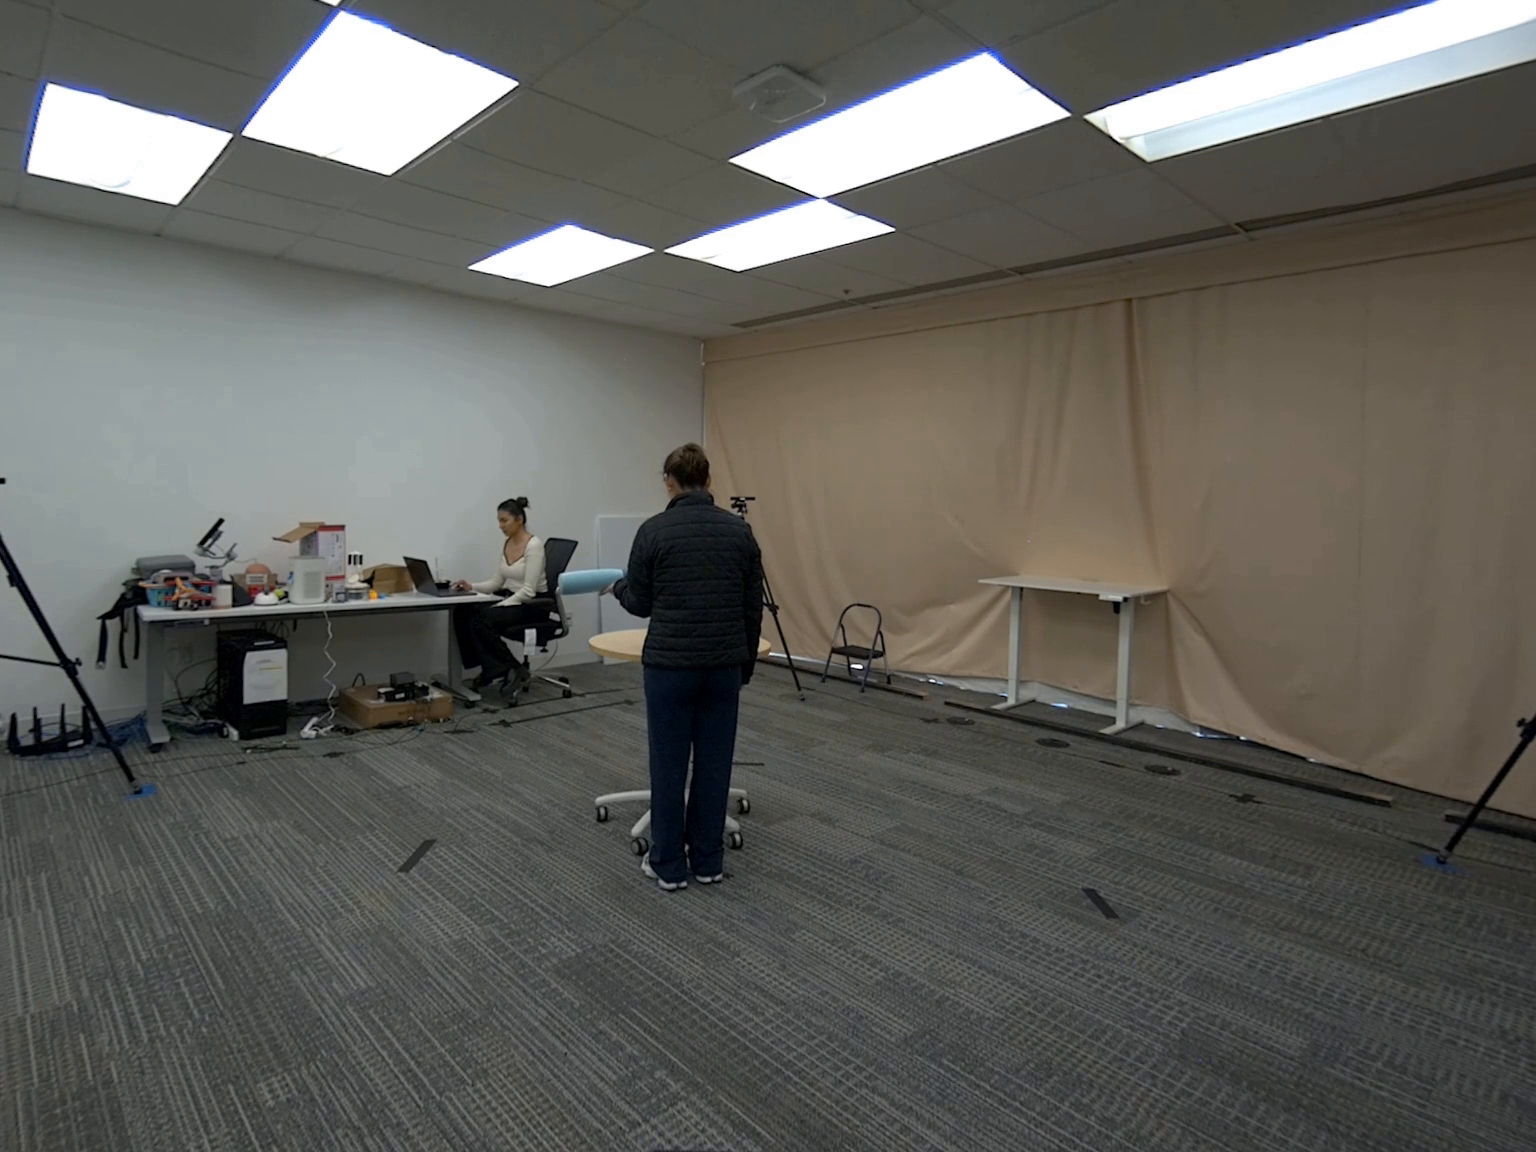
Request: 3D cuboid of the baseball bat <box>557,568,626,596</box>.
[{"bbox_3d":[-0.560,0.014,3.327,0.535,0.089,0.091,-5,6,-20],"label":"baseball bat"}]
